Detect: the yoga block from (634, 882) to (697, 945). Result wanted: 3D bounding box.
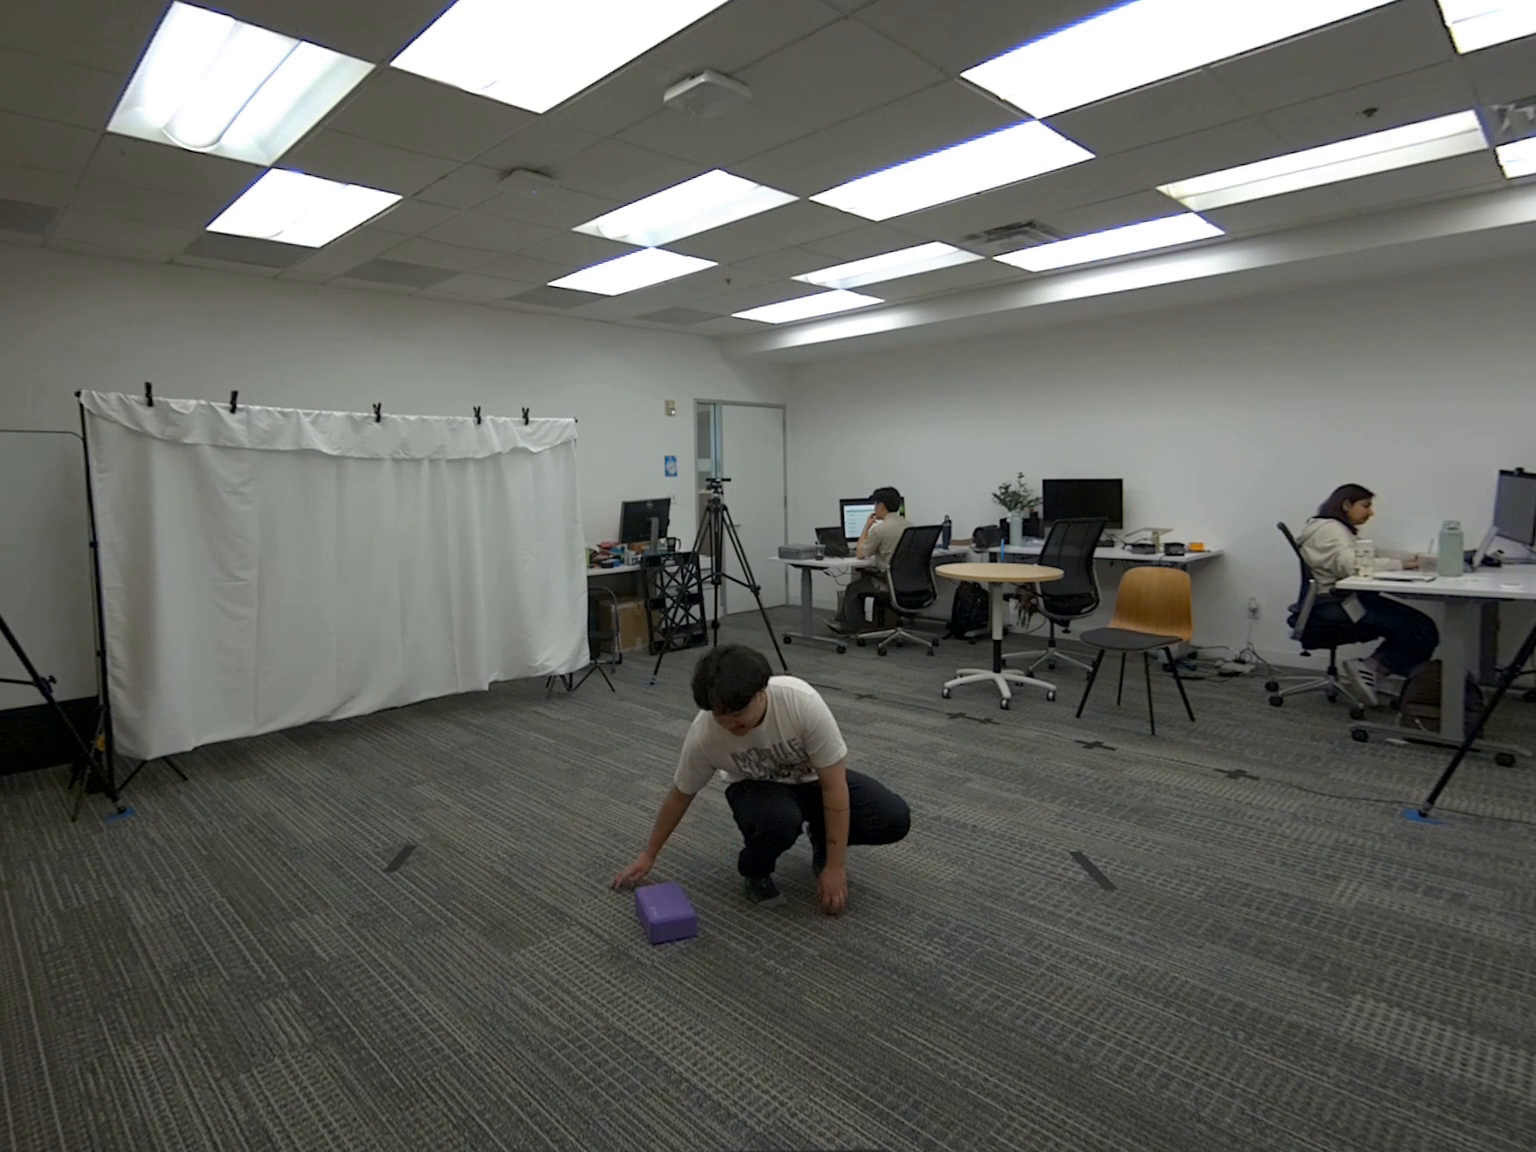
[{"bbox_3d":[-0.316,1.052,2.696,0.146,0.076,0.234,-3,7,-19],"label":"yoga block"}]
